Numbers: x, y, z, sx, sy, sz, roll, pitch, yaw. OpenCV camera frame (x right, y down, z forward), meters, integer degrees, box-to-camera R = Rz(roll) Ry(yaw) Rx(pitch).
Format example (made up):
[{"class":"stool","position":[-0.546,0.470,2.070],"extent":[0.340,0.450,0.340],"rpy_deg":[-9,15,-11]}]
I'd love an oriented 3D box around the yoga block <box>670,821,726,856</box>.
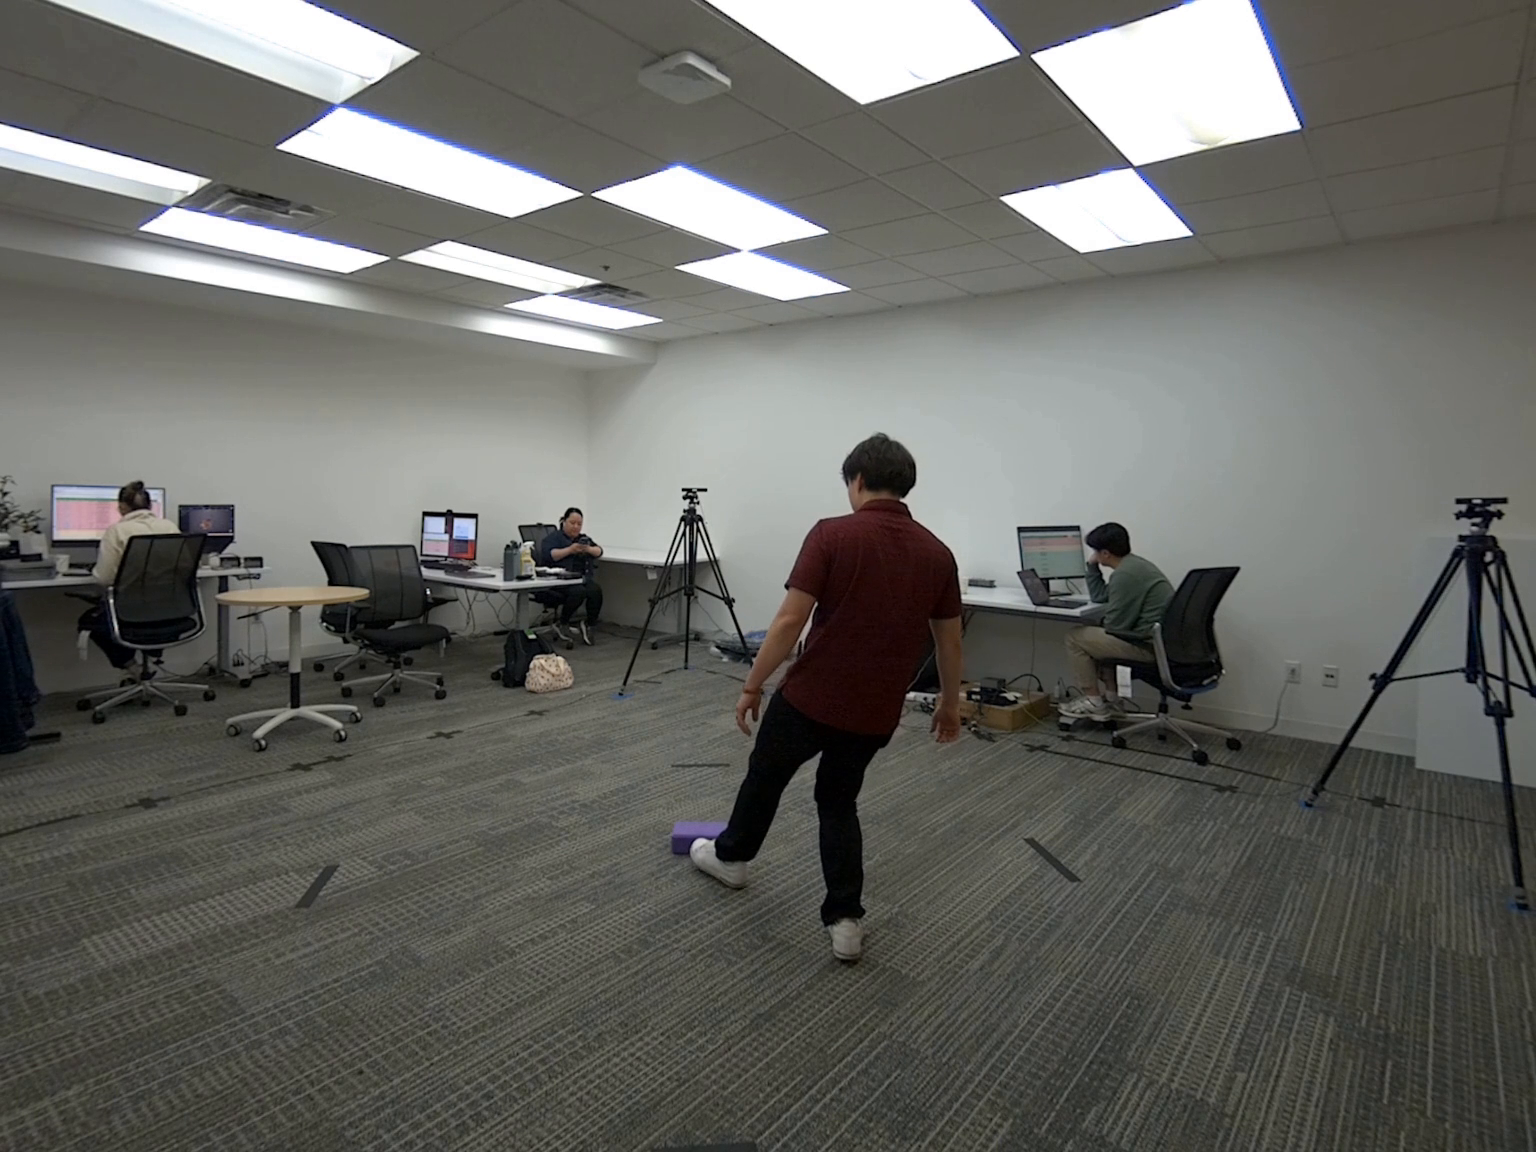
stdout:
[{"class":"yoga block","position":[-0.267,1.003,3.291],"extent":[0.230,0.076,0.149],"rpy_deg":[0,6,3]}]
